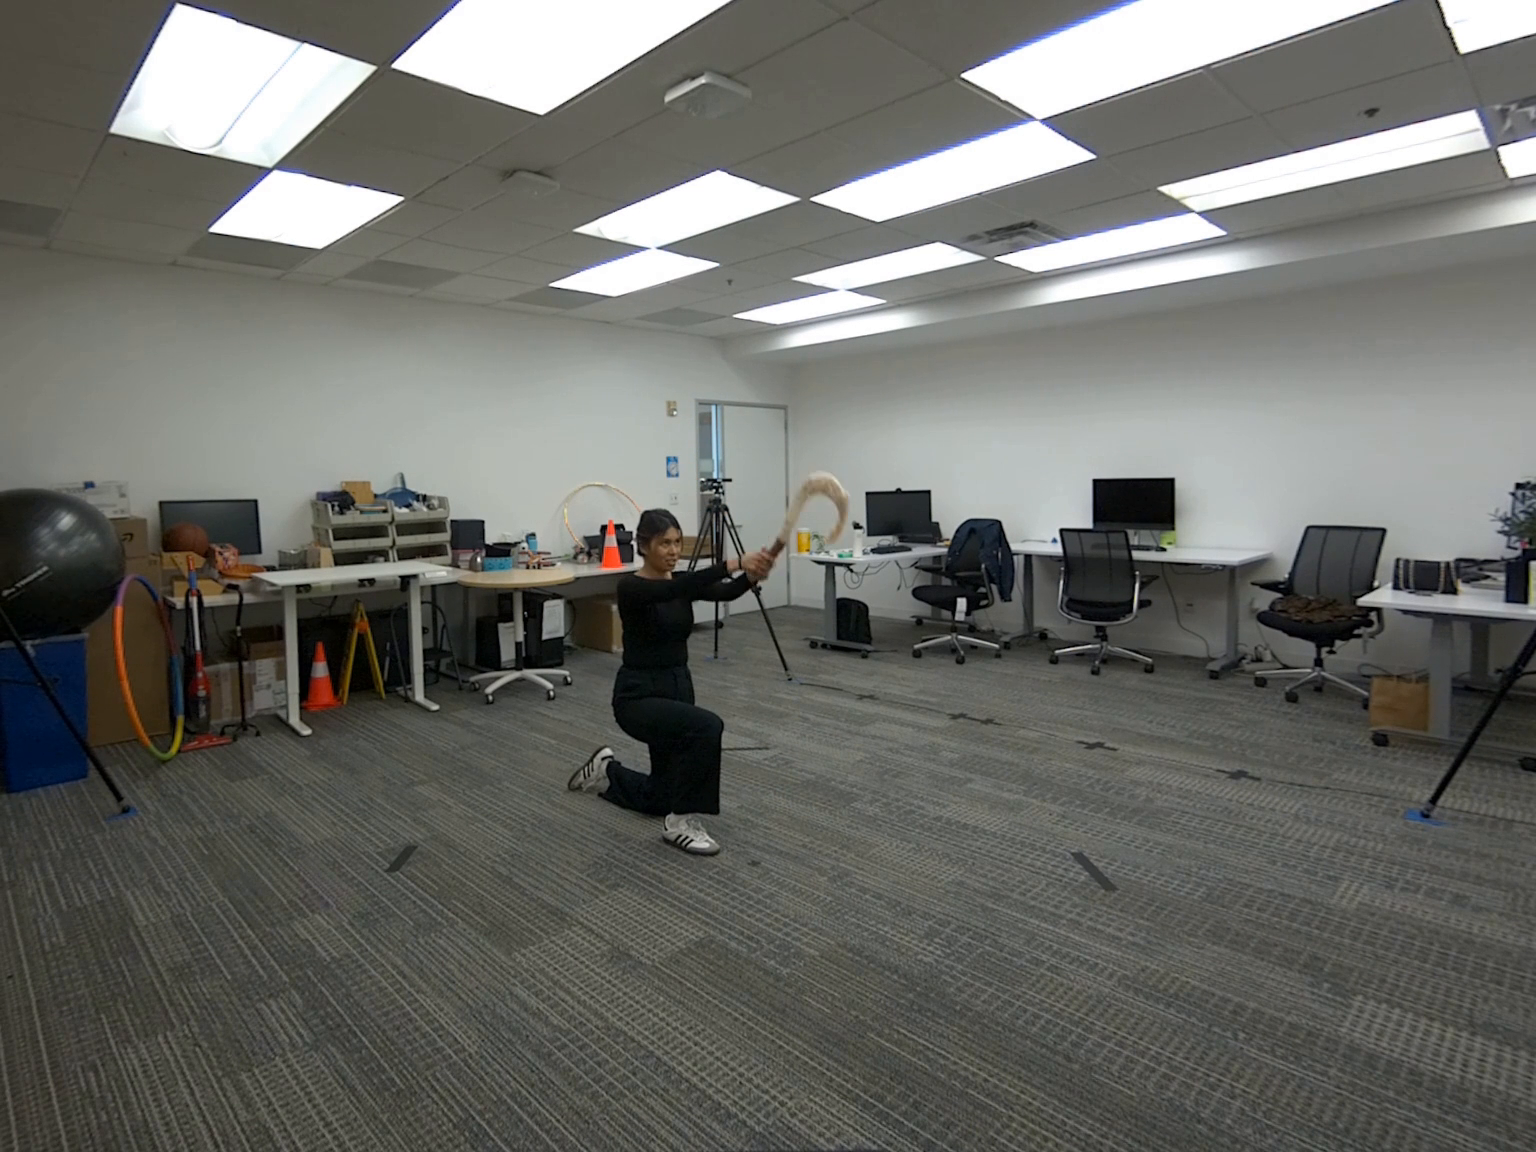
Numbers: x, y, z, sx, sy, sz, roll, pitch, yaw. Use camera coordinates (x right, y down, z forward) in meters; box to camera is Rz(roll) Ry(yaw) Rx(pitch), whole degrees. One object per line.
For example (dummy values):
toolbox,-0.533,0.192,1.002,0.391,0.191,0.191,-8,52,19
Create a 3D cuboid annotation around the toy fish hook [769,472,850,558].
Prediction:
toy fish hook,0.079,-0.120,3.001,0.047,0.232,0.504,-4,-40,-49
